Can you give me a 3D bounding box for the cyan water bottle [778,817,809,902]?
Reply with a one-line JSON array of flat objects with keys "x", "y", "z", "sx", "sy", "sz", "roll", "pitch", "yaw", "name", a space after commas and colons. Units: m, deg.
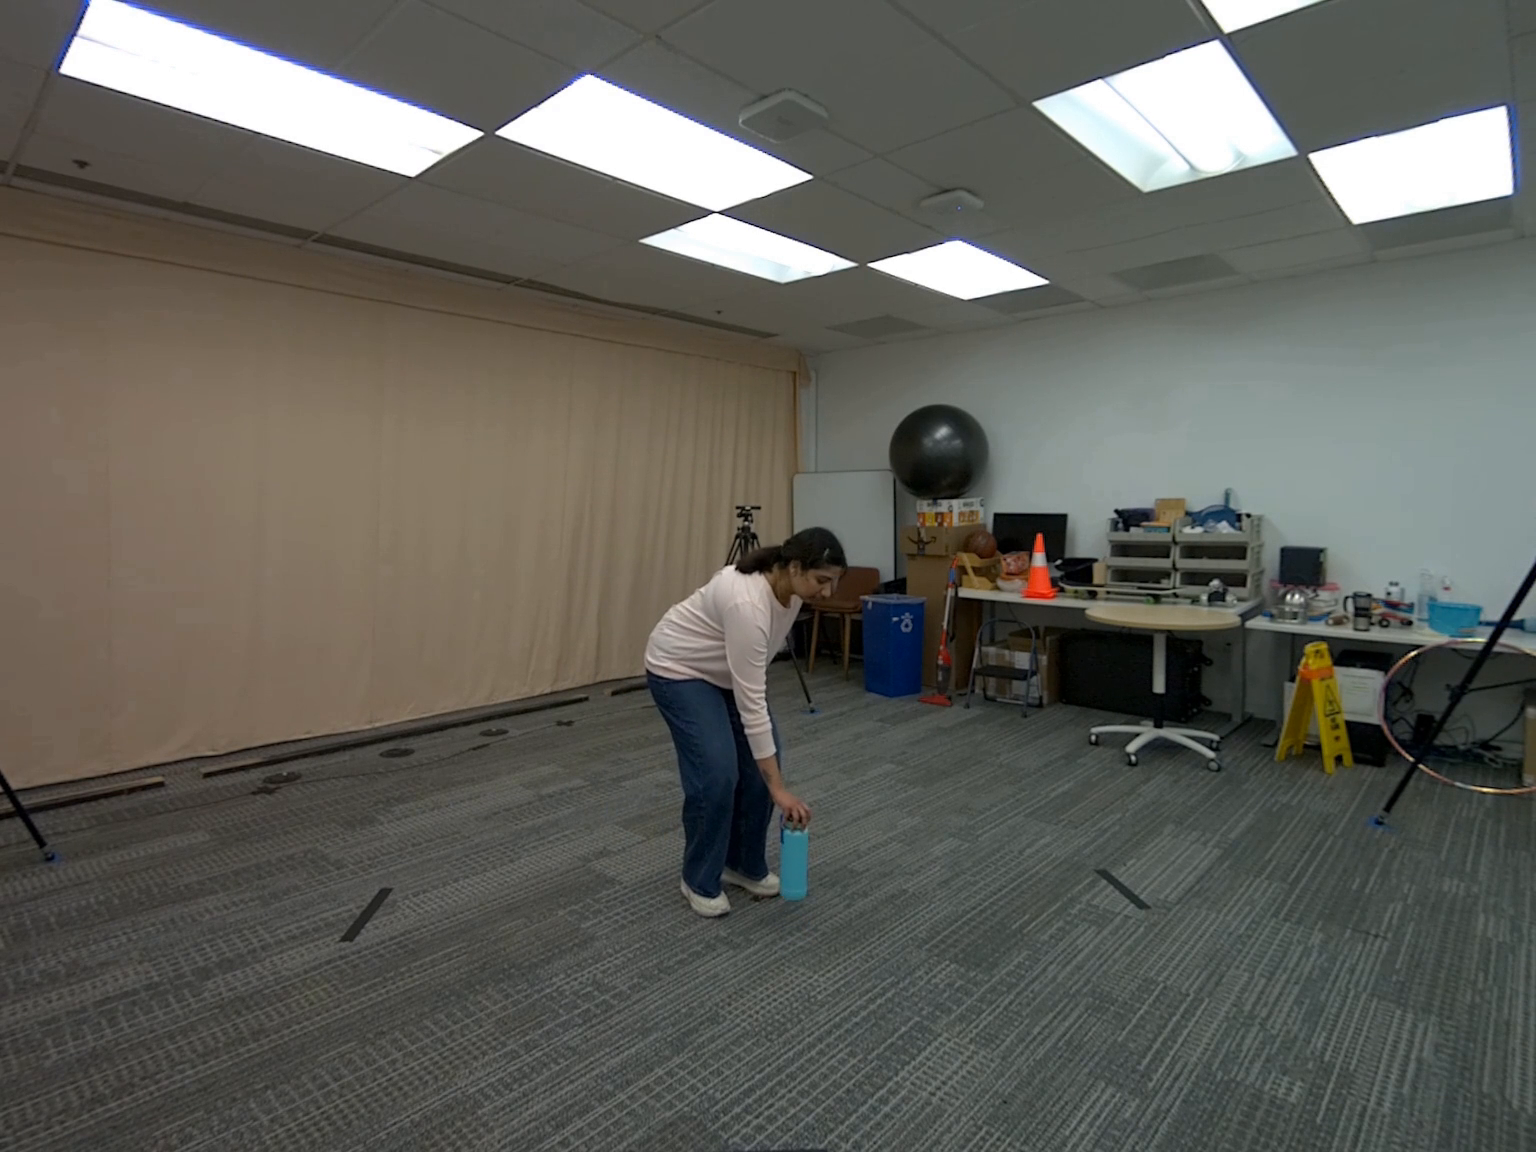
[{"x": 0.093, "y": 0.900, "z": 2.739, "sx": 0.092, "sy": 0.282, "sz": 0.093, "roll": 1, "pitch": 5, "yaw": -2, "name": "cyan water bottle"}]
